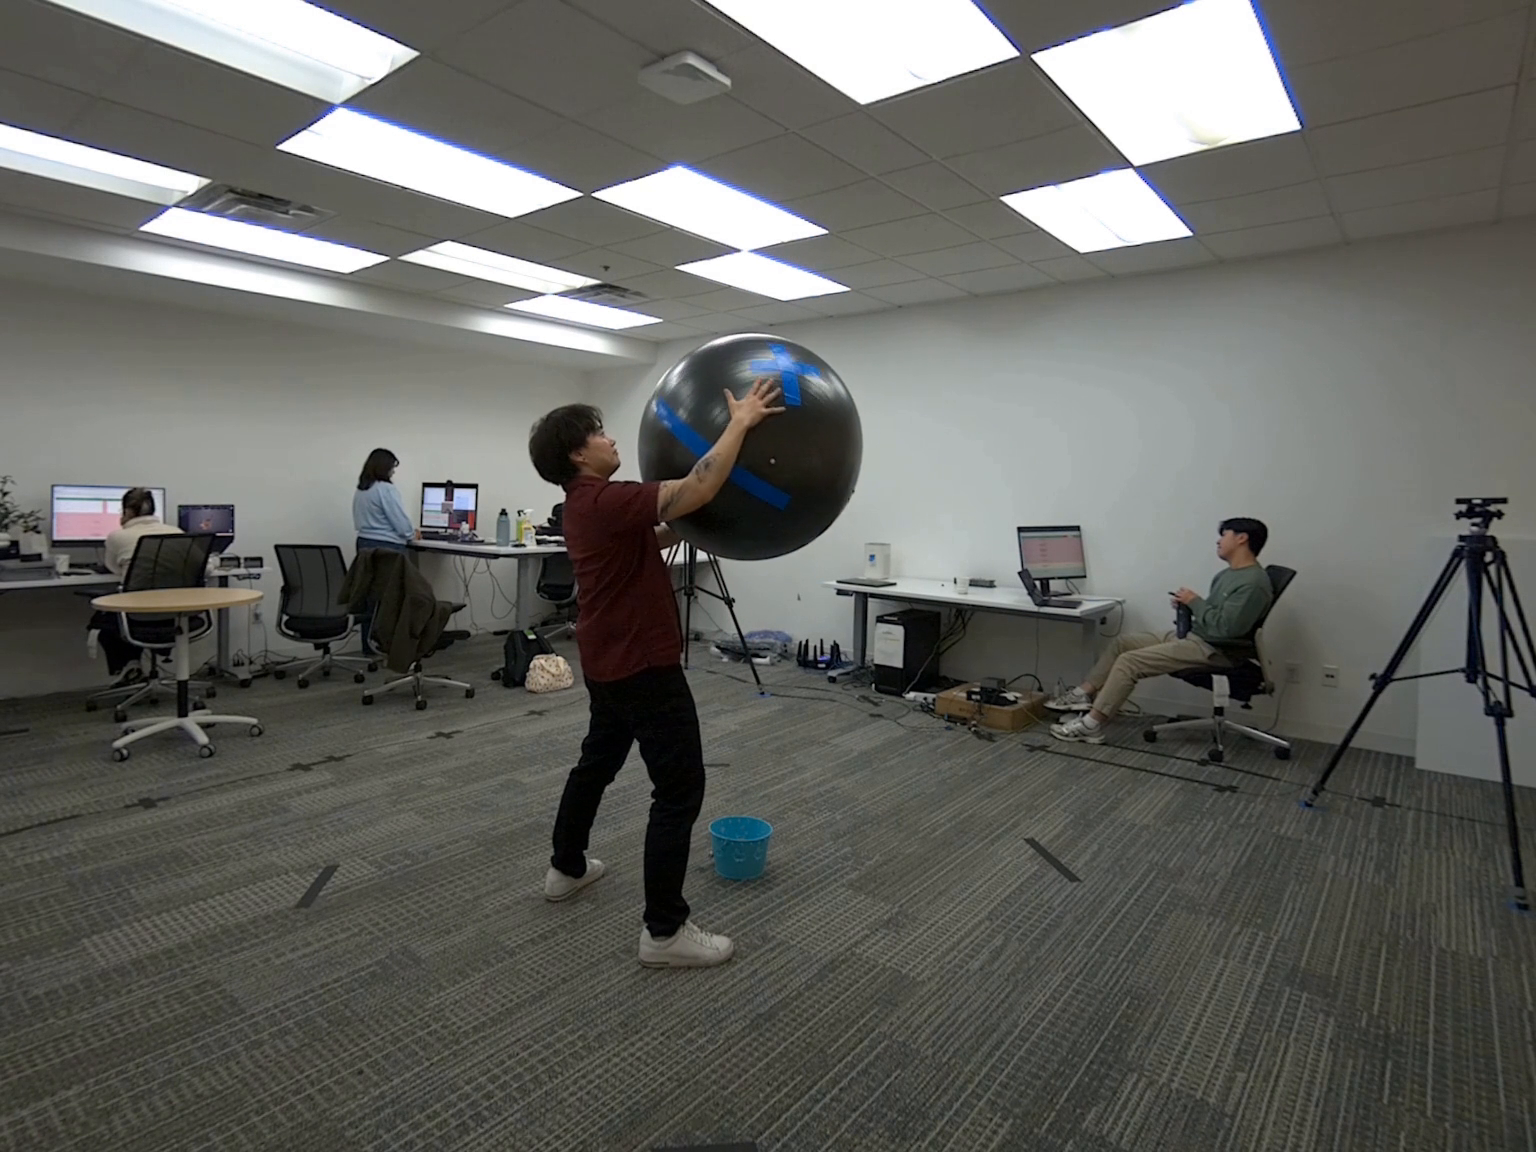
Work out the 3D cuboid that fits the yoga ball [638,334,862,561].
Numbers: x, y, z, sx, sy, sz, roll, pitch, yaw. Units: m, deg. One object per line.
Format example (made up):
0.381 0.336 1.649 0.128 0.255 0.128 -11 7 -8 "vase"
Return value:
-0.066 -0.431 2.874 0.757 0.756 0.762 1 4 -2 "yoga ball"
